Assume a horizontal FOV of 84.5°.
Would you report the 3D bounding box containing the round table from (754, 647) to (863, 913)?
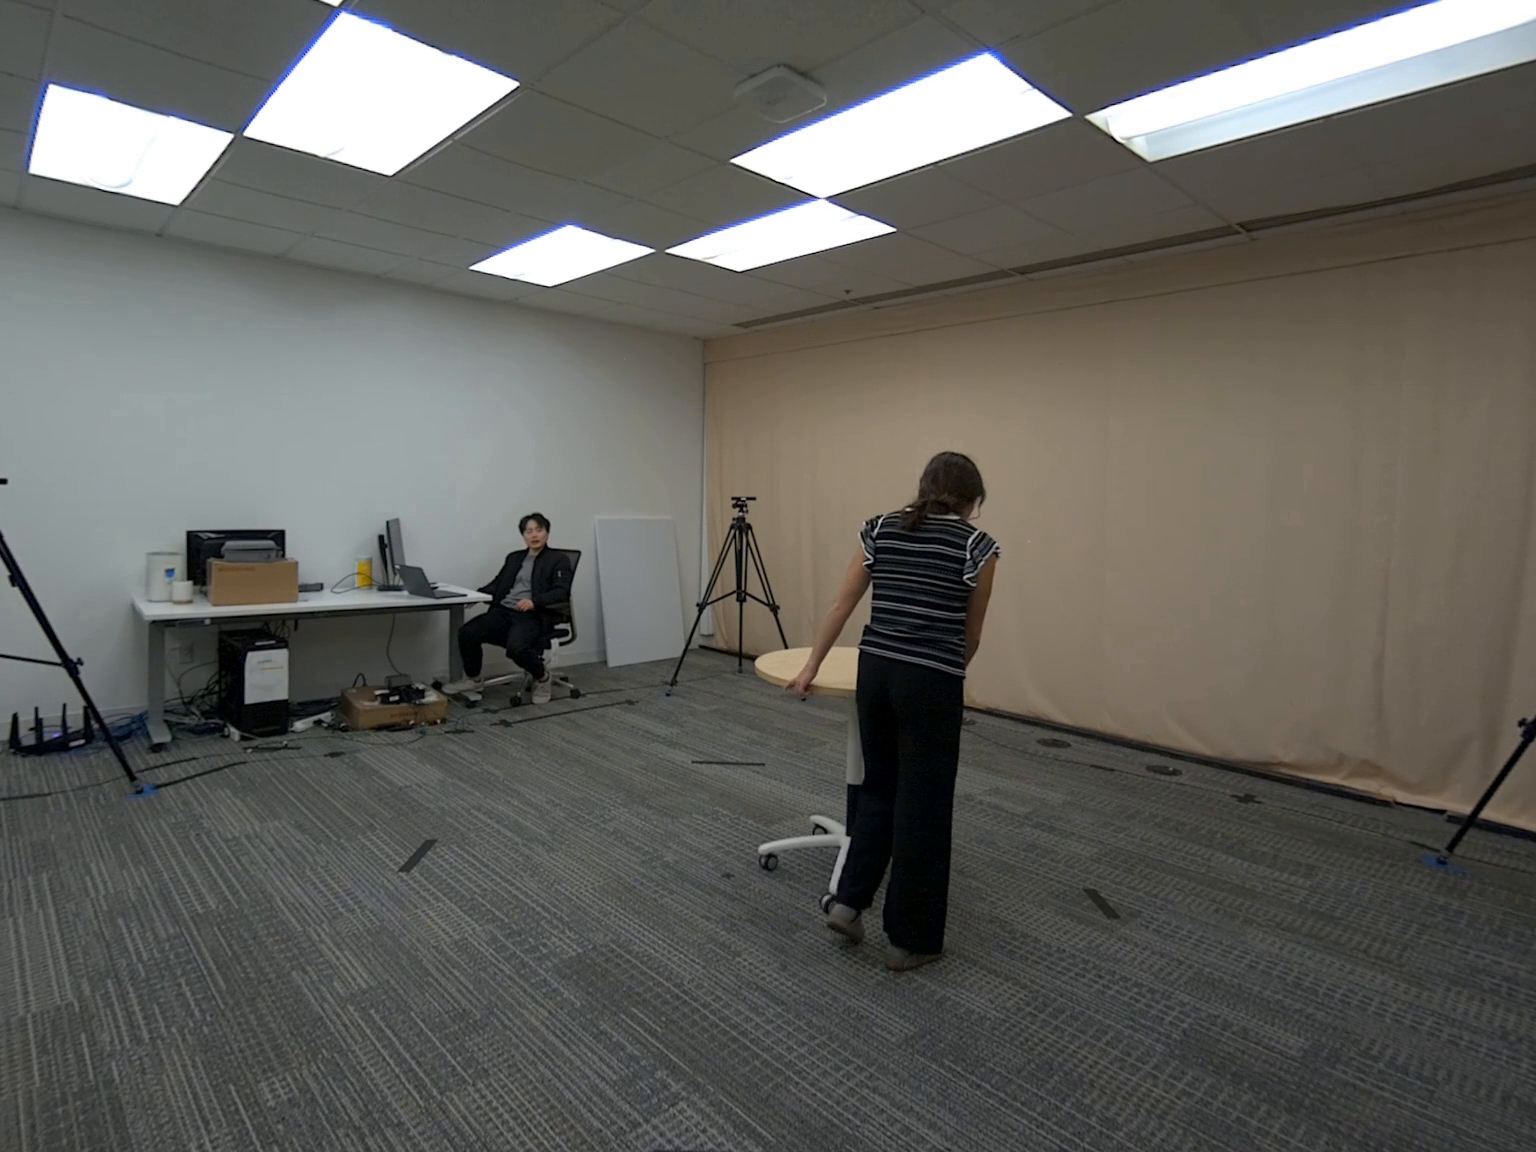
[{"bbox_3d":[0.313,0.728,3.148,0.763,0.792,0.767,2,4,-2],"label":"round table"}]
